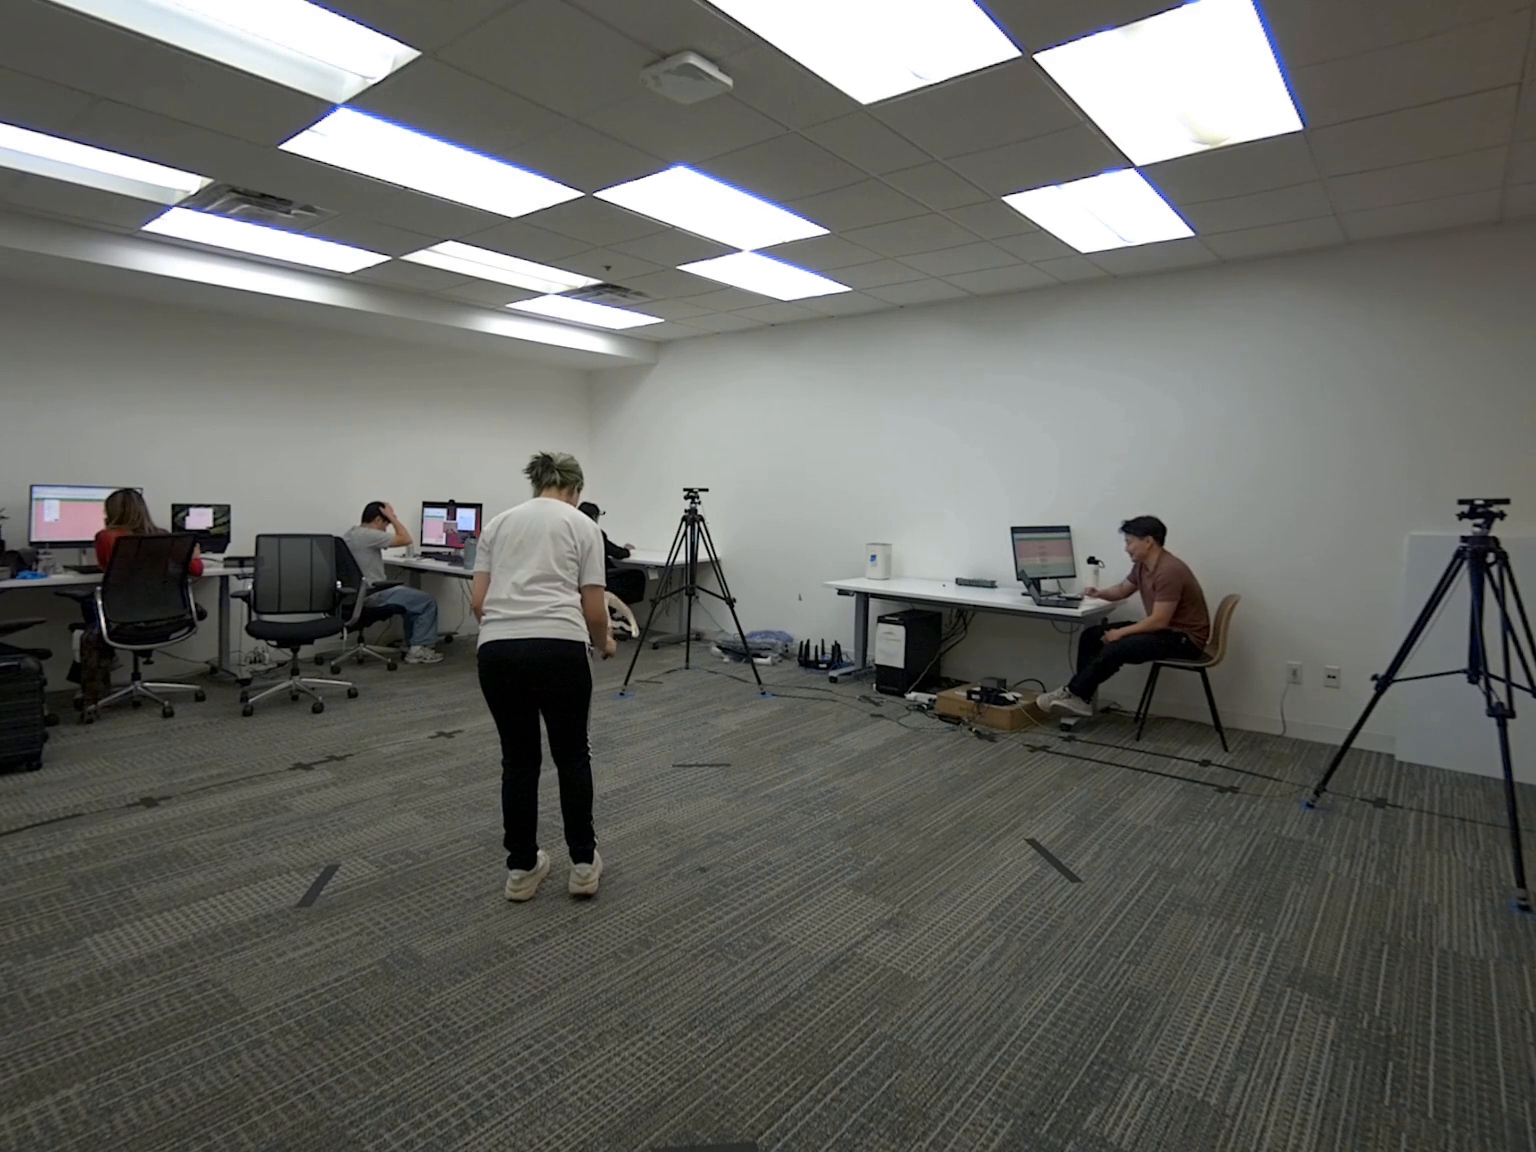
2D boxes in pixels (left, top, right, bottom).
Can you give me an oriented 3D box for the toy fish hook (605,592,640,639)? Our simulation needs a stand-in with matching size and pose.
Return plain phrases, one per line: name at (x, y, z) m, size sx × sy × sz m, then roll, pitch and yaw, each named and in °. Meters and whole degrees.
toy fish hook at (-0.602, 0.226, 3.379) m, size 0.219 × 0.048 × 0.520 m, roll 36°, pitch 17°, yaw -20°
